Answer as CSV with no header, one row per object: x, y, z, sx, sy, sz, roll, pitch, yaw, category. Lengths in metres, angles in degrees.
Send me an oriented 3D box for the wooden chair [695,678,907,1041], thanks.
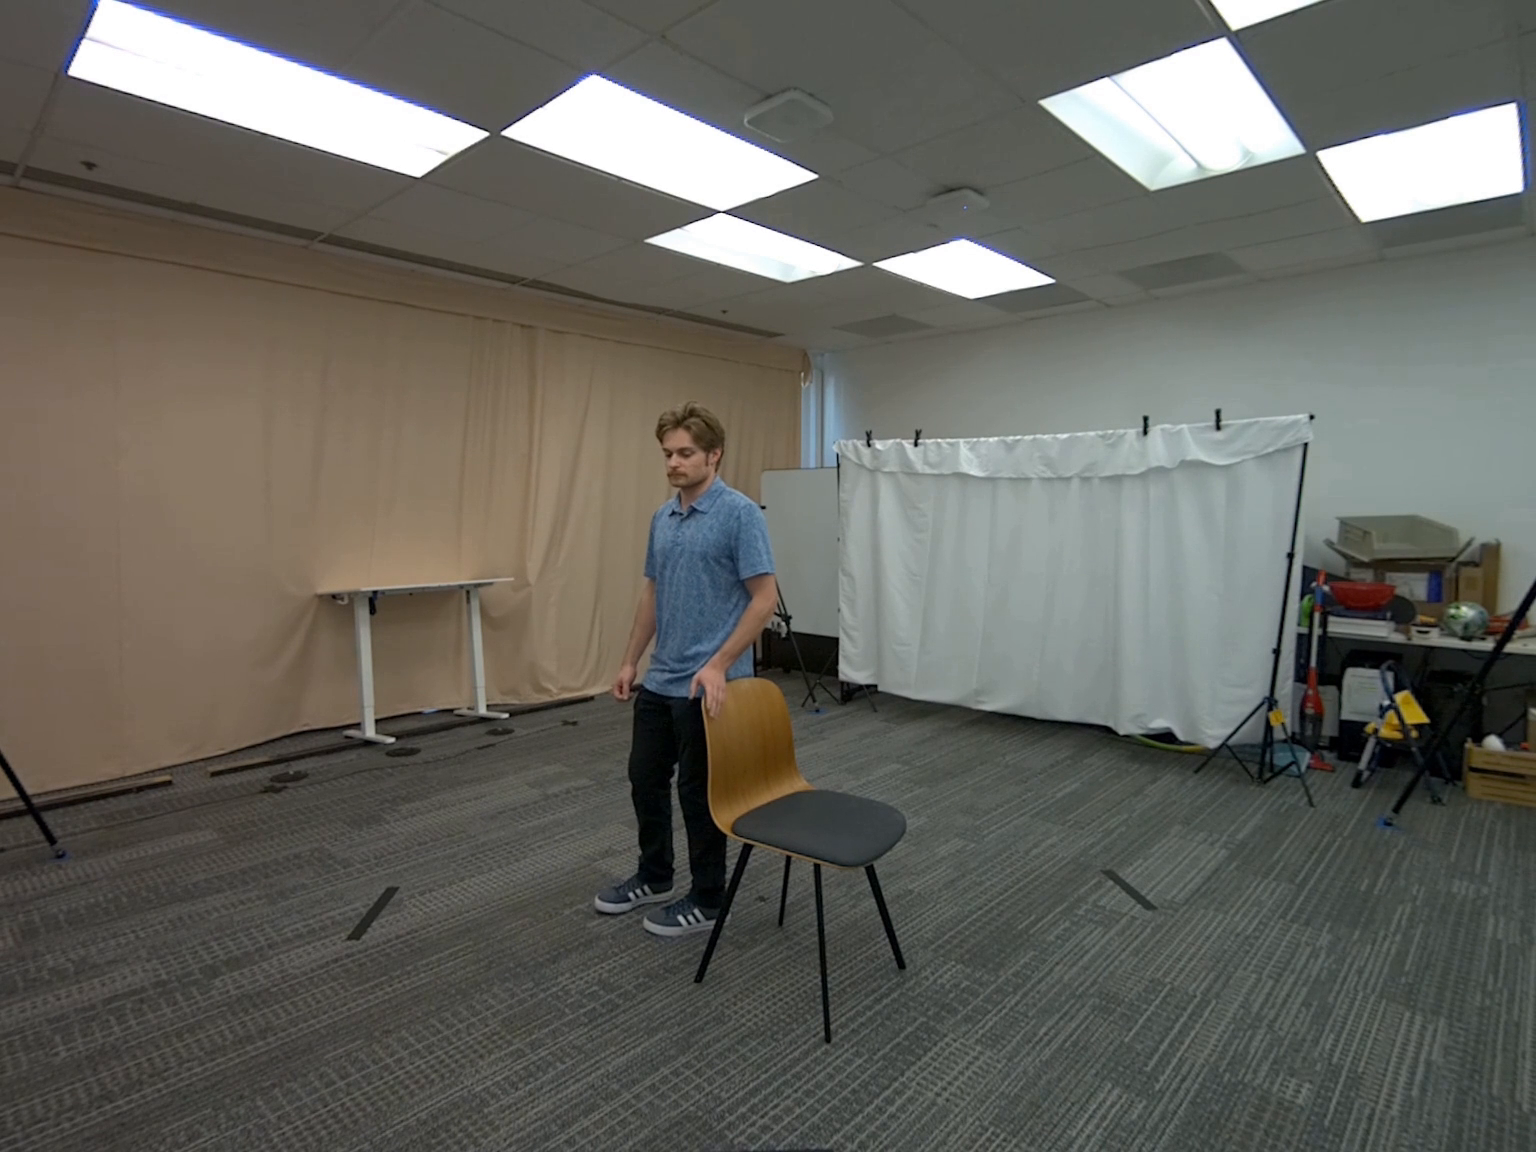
0.115,0.760,2.461,0.539,0.877,0.464,-3,0,36,wooden chair
